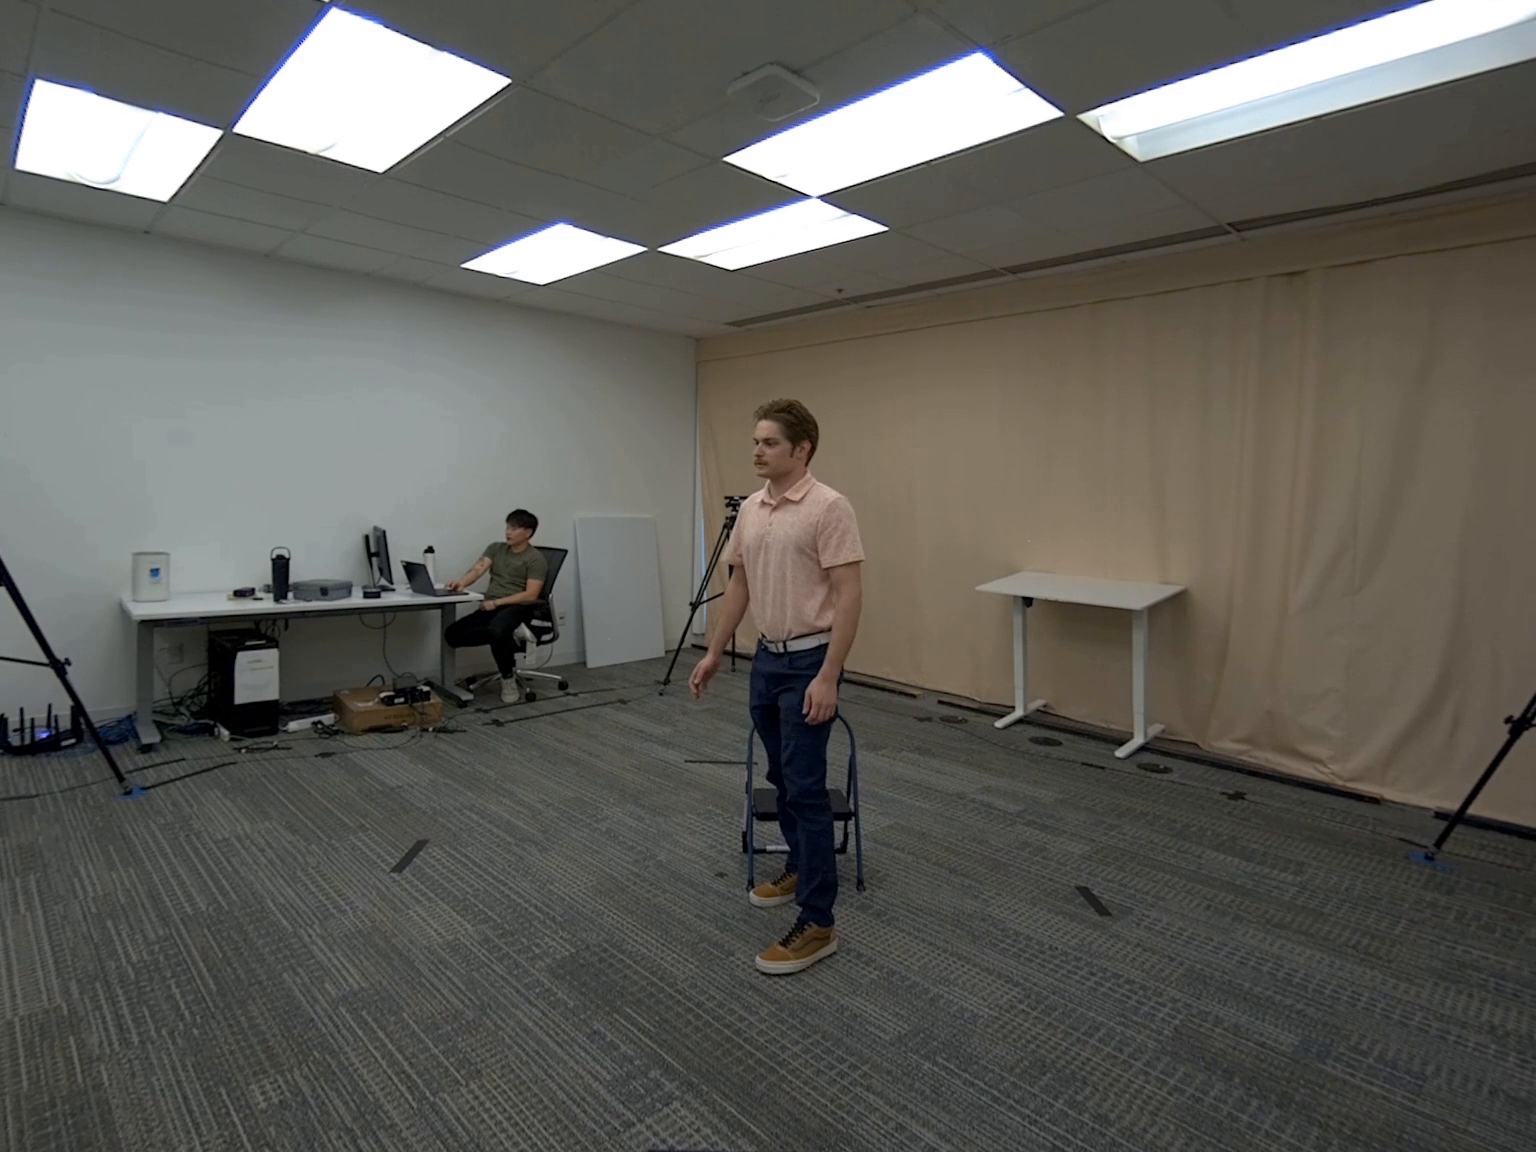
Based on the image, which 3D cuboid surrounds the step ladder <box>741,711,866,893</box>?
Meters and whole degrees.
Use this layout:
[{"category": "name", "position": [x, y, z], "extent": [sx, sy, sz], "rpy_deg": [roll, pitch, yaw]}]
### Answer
[{"category": "step ladder", "position": [0.125, 0.805, 3.150], "extent": [0.429, 0.605, 0.351], "rpy_deg": [1, 3, -5]}]
